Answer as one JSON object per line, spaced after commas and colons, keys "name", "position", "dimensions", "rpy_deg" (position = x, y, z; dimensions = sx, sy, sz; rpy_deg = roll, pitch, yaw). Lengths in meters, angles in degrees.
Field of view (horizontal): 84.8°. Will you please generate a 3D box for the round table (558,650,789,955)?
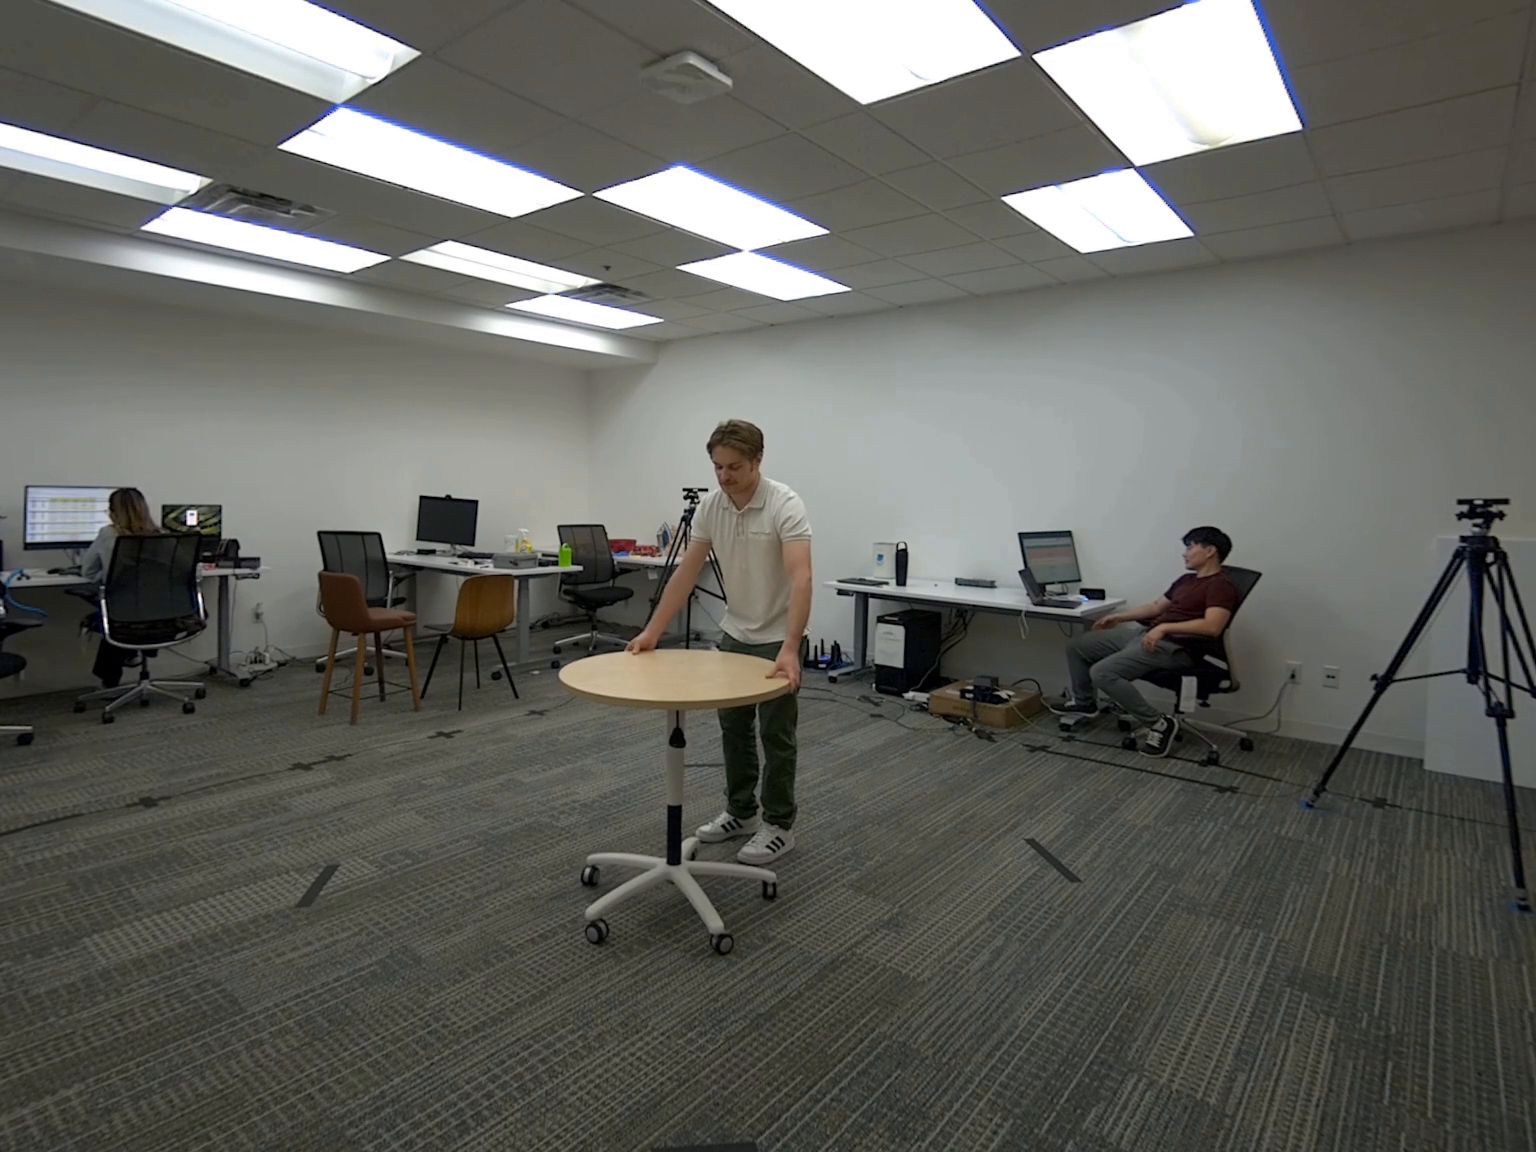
{"name": "round table", "position": [-0.325, 0.706, 2.826], "dimensions": [0.763, 0.791, 0.768], "rpy_deg": [0, 4, -2]}
